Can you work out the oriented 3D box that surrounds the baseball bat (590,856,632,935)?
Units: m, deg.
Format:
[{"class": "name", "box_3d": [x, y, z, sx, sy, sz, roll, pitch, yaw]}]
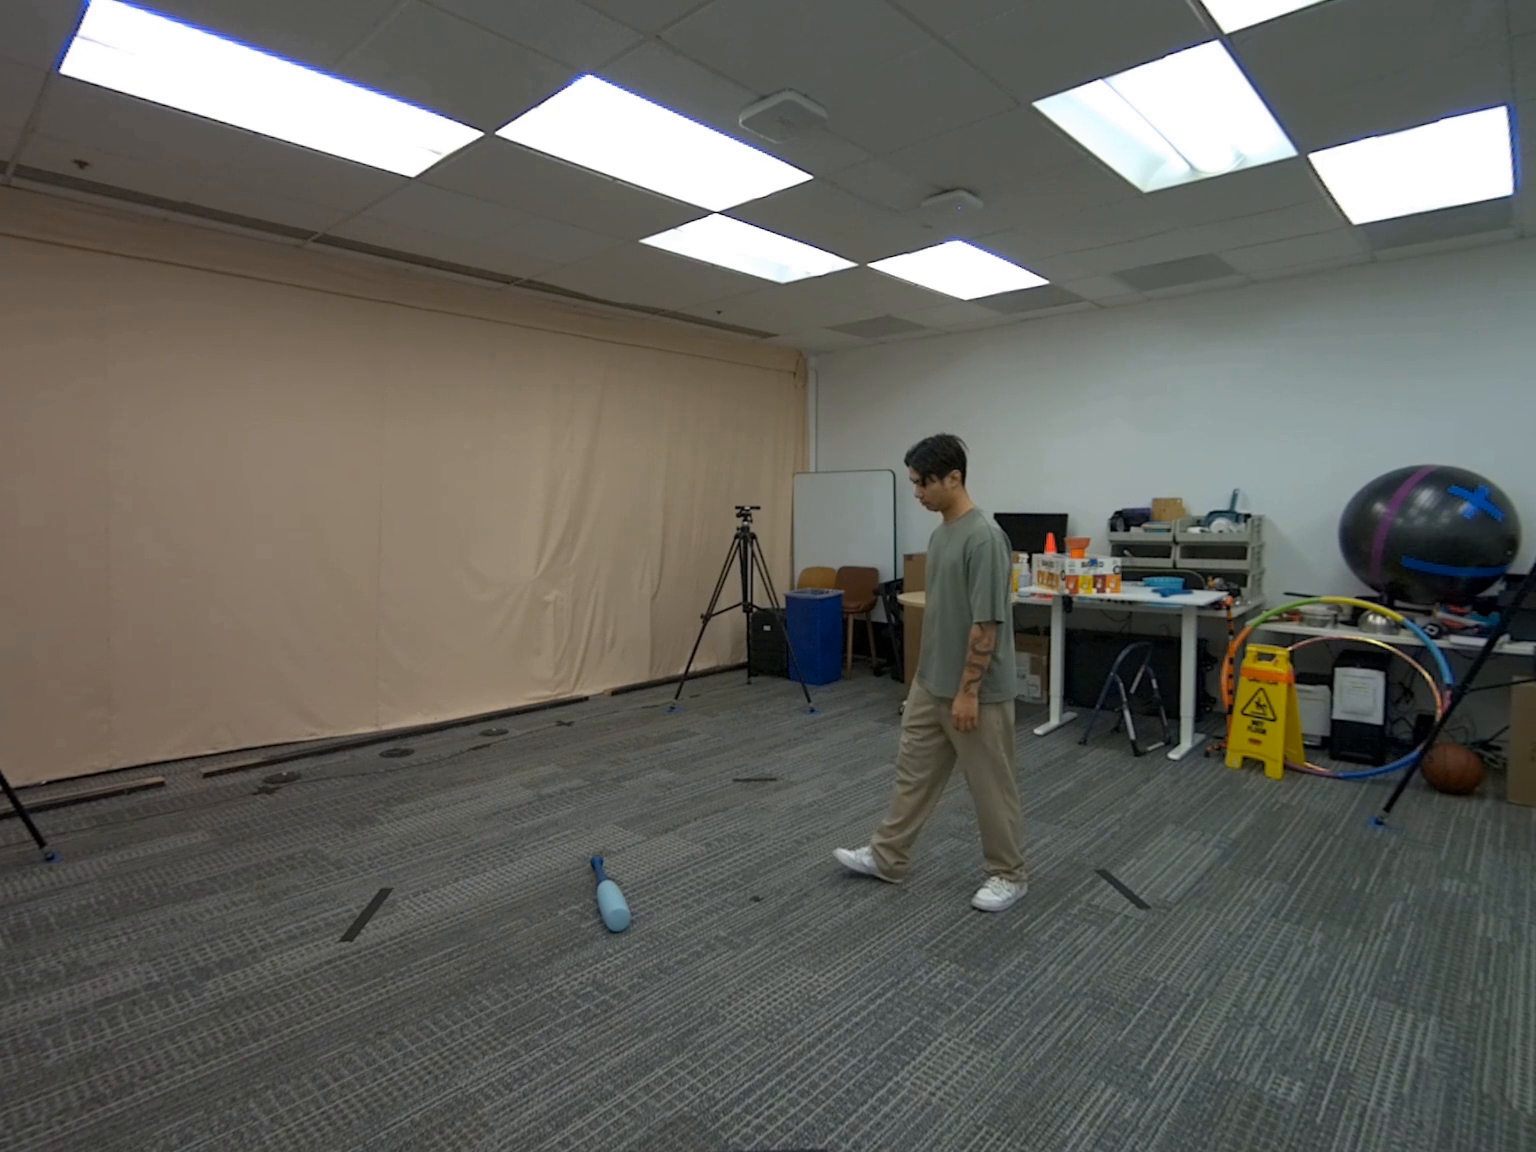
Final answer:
[{"class": "baseball bat", "box_3d": [-0.574, 1.114, 2.994, 0.087, 0.089, 0.553, -1, 3, -19]}]
